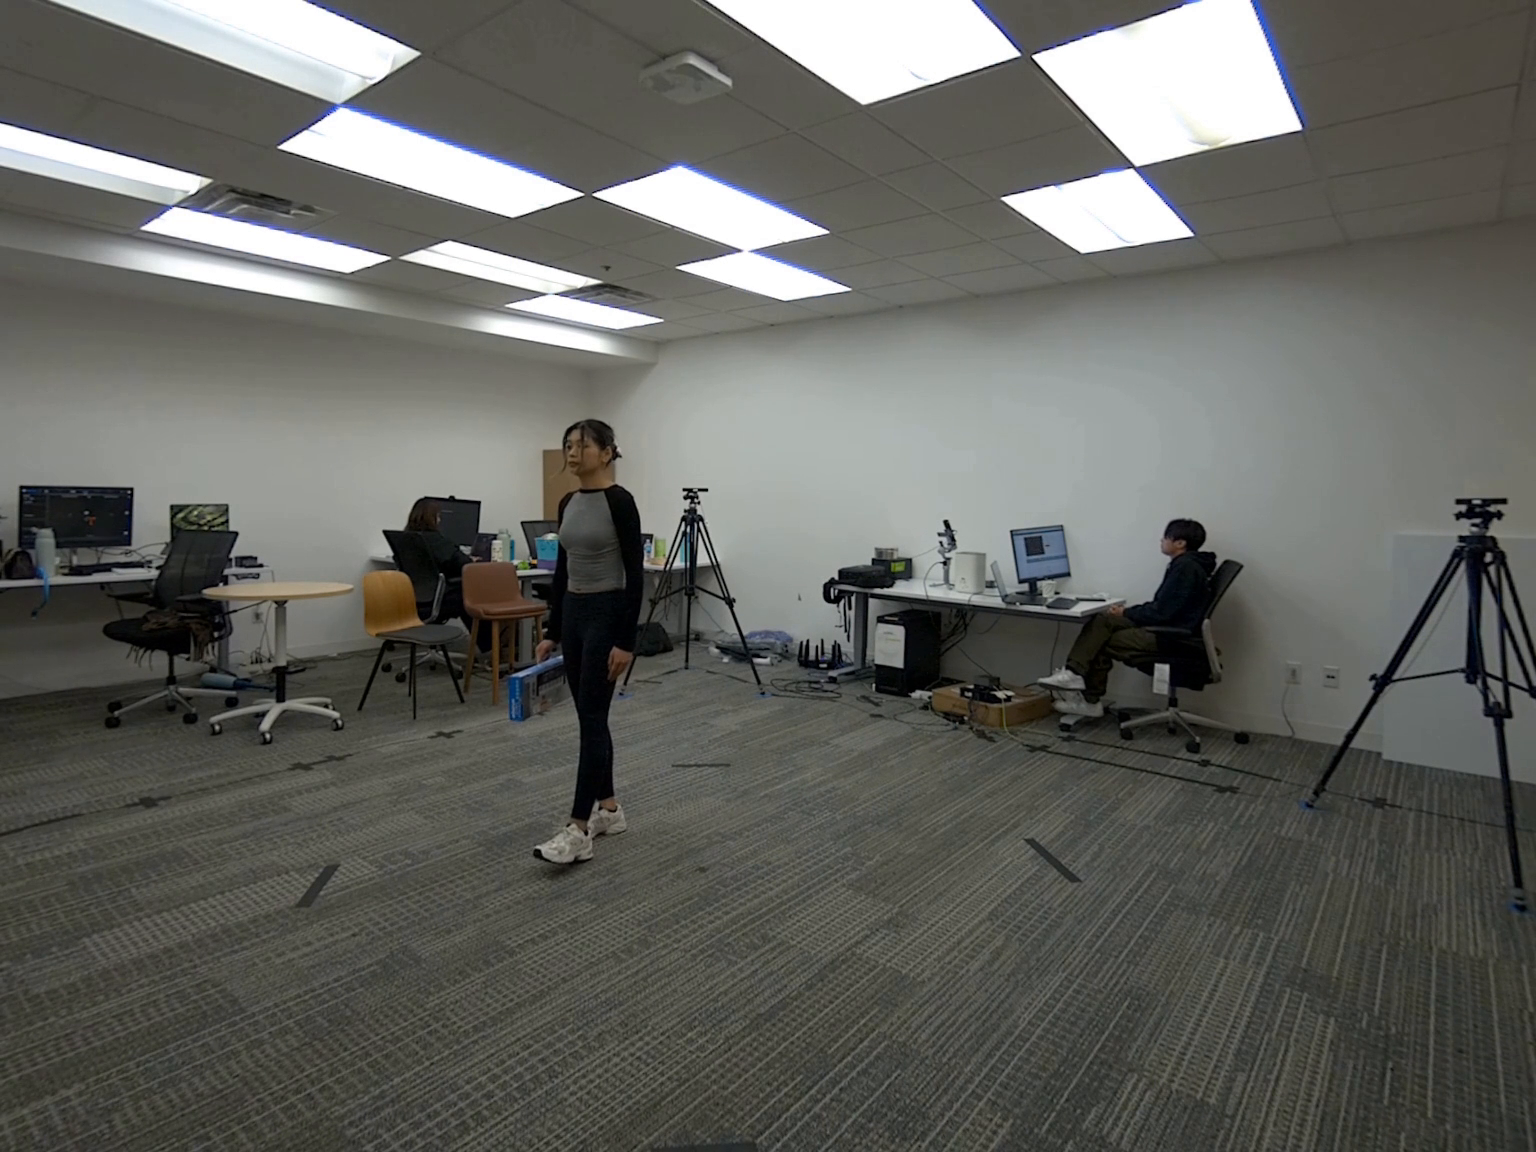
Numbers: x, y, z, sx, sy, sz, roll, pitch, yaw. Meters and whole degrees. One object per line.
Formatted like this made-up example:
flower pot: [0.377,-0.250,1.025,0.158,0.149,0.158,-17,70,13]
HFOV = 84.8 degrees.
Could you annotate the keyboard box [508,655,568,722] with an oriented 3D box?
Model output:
keyboard box: [-0.904,0.436,3.423,0.060,0.175,0.431,1,5,15]
